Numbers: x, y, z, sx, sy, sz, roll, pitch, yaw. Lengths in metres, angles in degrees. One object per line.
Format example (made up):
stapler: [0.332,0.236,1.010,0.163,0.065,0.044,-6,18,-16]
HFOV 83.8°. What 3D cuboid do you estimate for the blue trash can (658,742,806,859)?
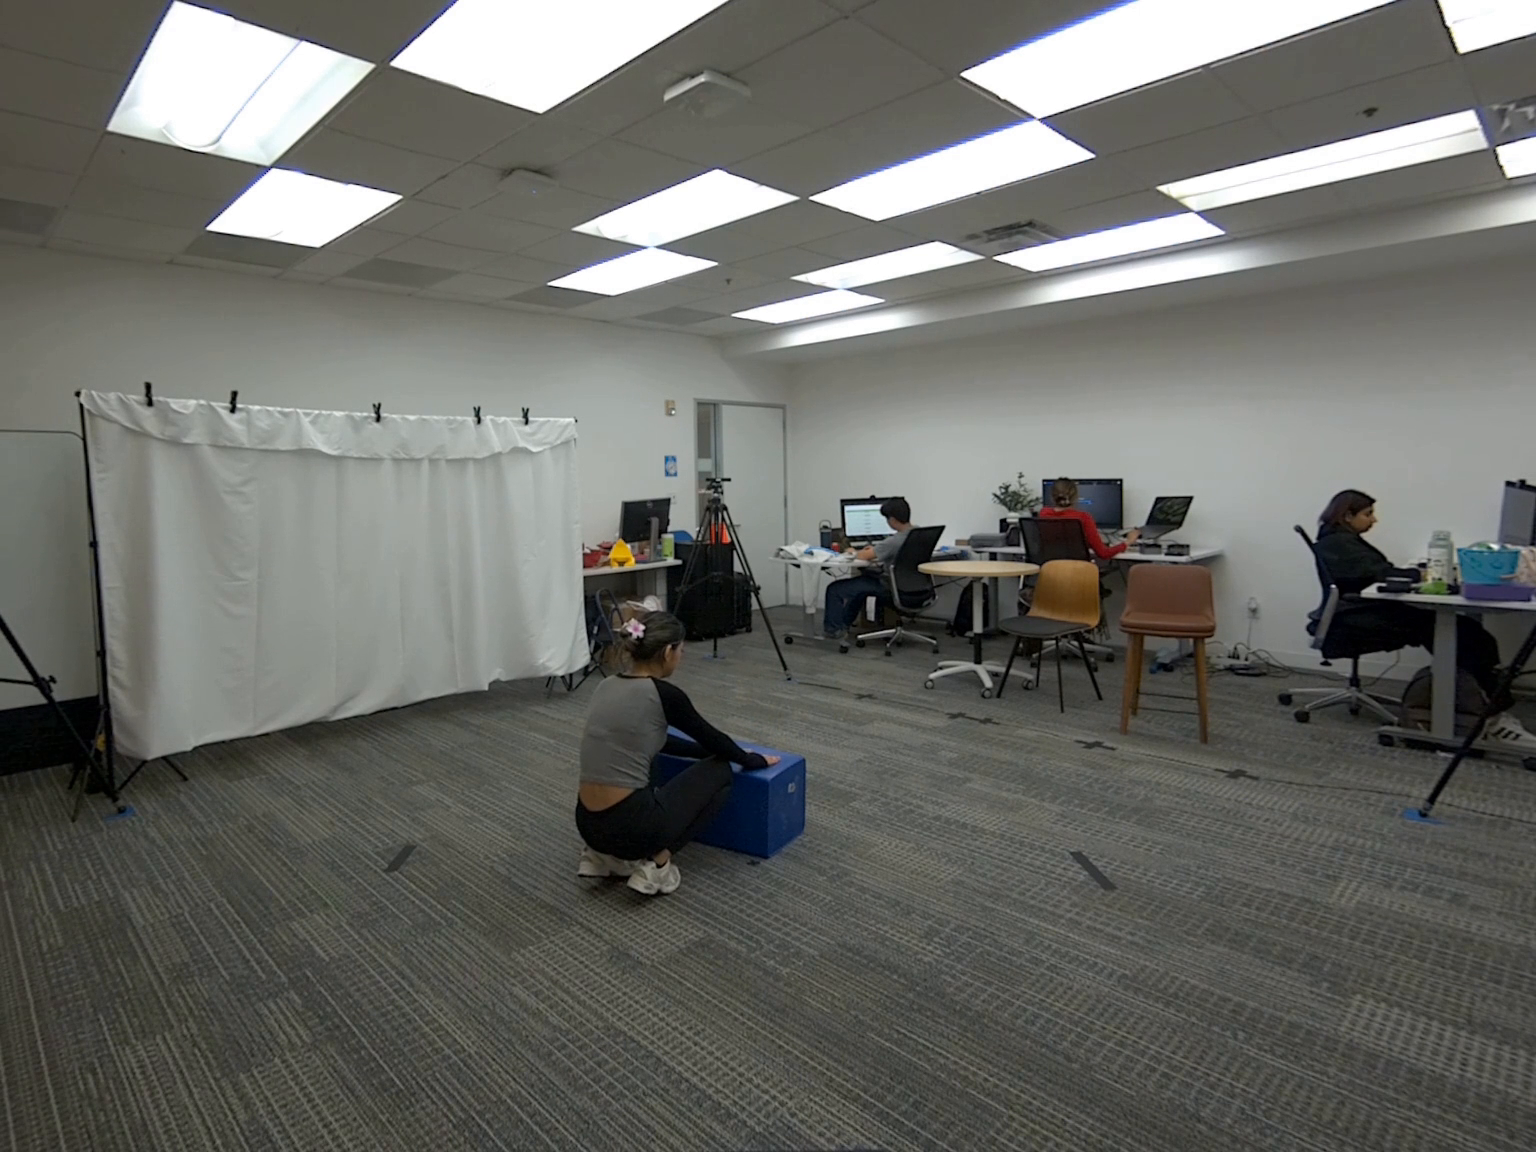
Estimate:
blue trash can: [-0.234,0.842,3.424,0.734,0.376,0.365,5,6,31]
